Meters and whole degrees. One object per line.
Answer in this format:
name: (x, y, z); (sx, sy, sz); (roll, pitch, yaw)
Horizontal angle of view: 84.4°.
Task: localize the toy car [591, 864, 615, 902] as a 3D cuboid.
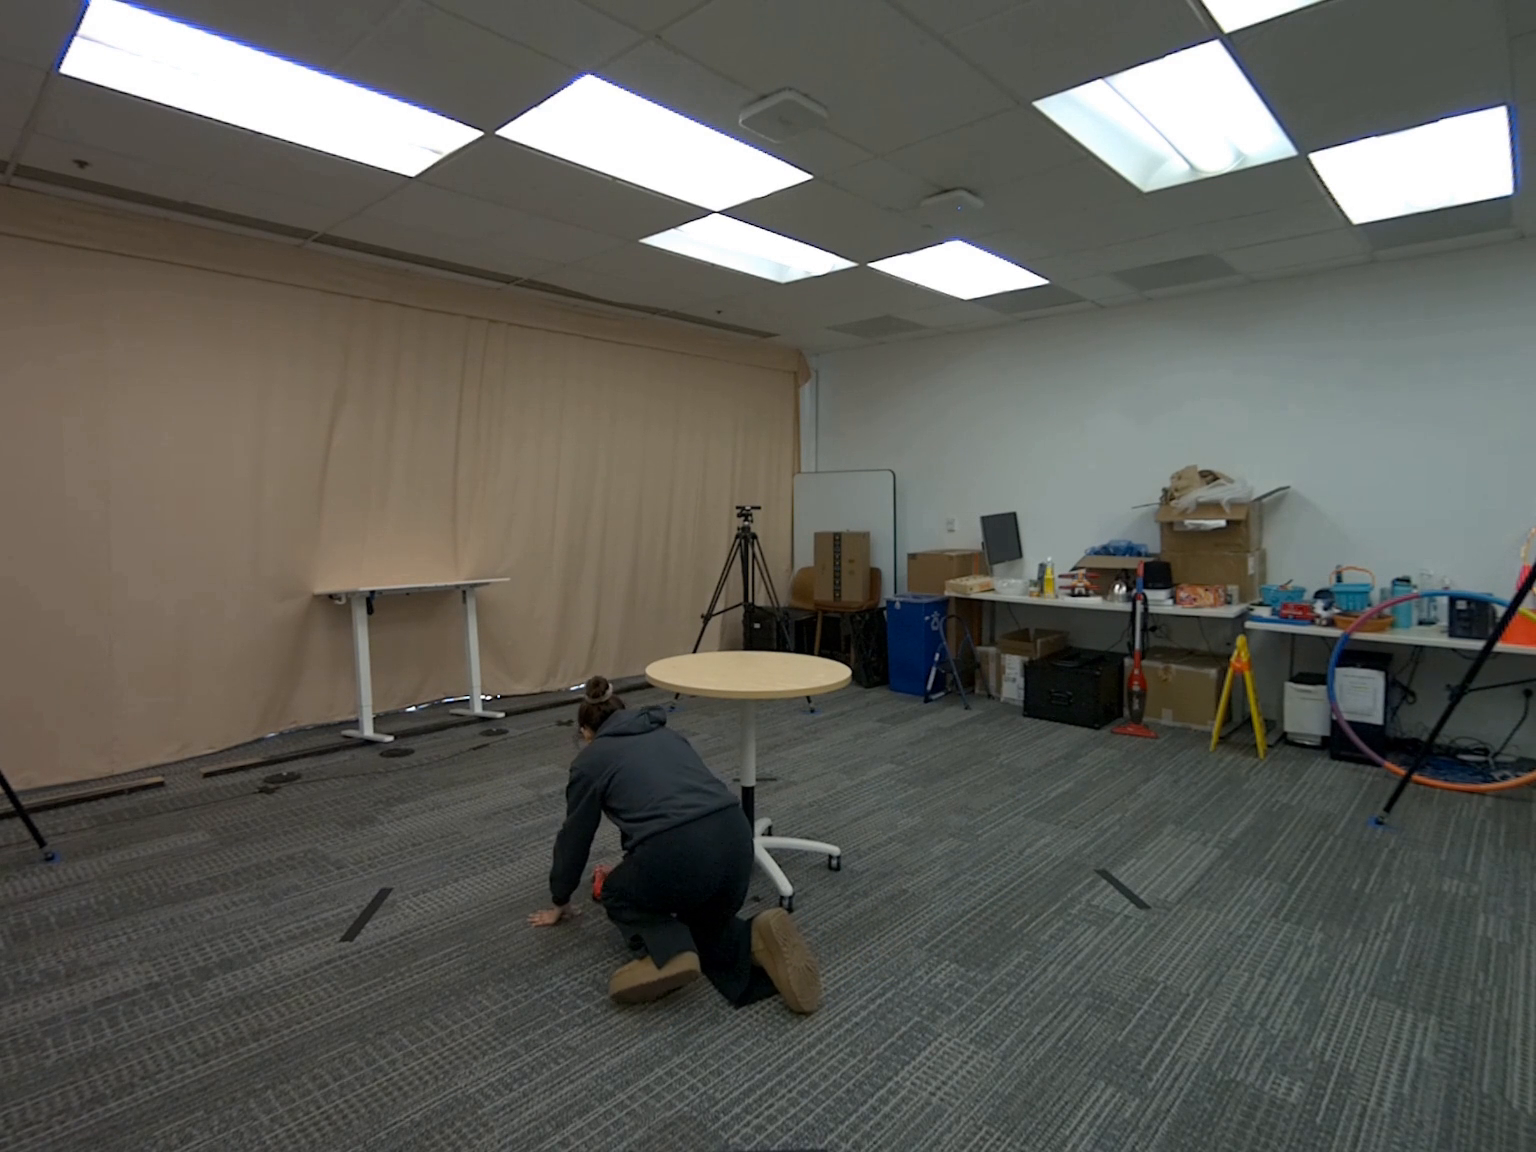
toy car: (-0.551, 1.113, 3.048); (0.129, 0.083, 0.256); (-2, -6, -10)
